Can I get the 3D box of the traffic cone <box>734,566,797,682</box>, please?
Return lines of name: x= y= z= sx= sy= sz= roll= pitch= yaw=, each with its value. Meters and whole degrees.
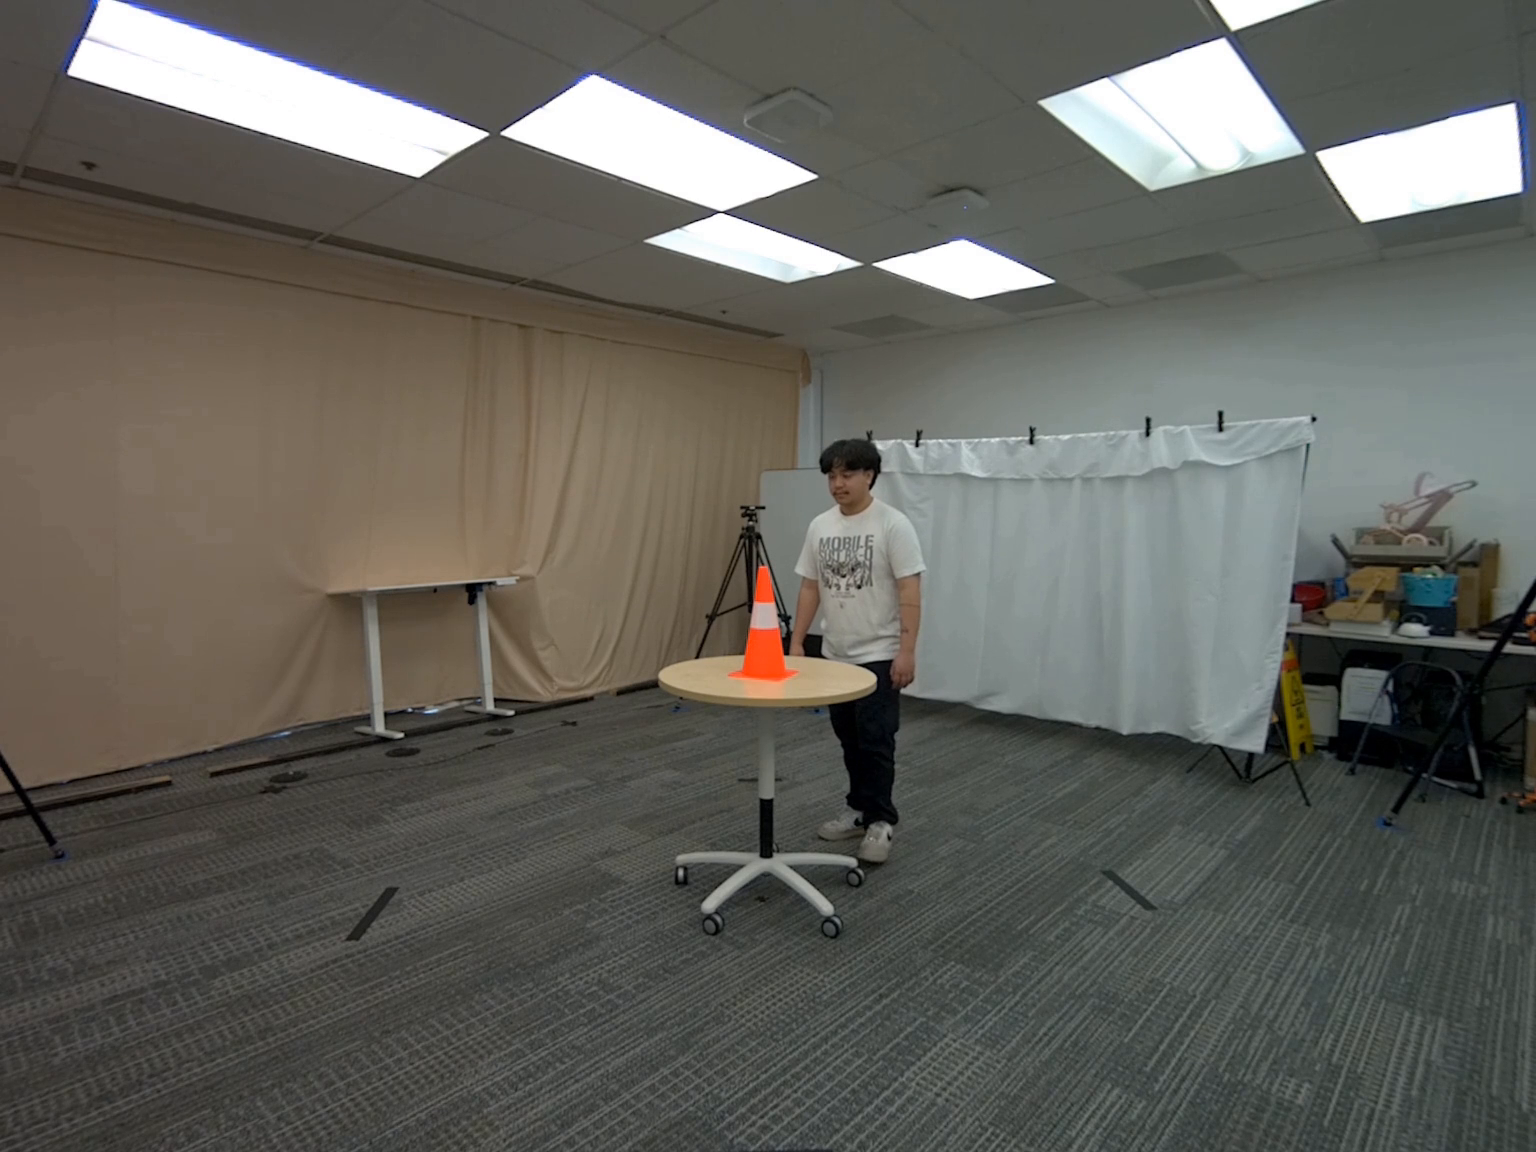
traffic cone: x=-0.013 y=0.161 z=2.977 sx=0.210 sy=0.383 sz=0.199 roll=0 pitch=2 yaw=23
